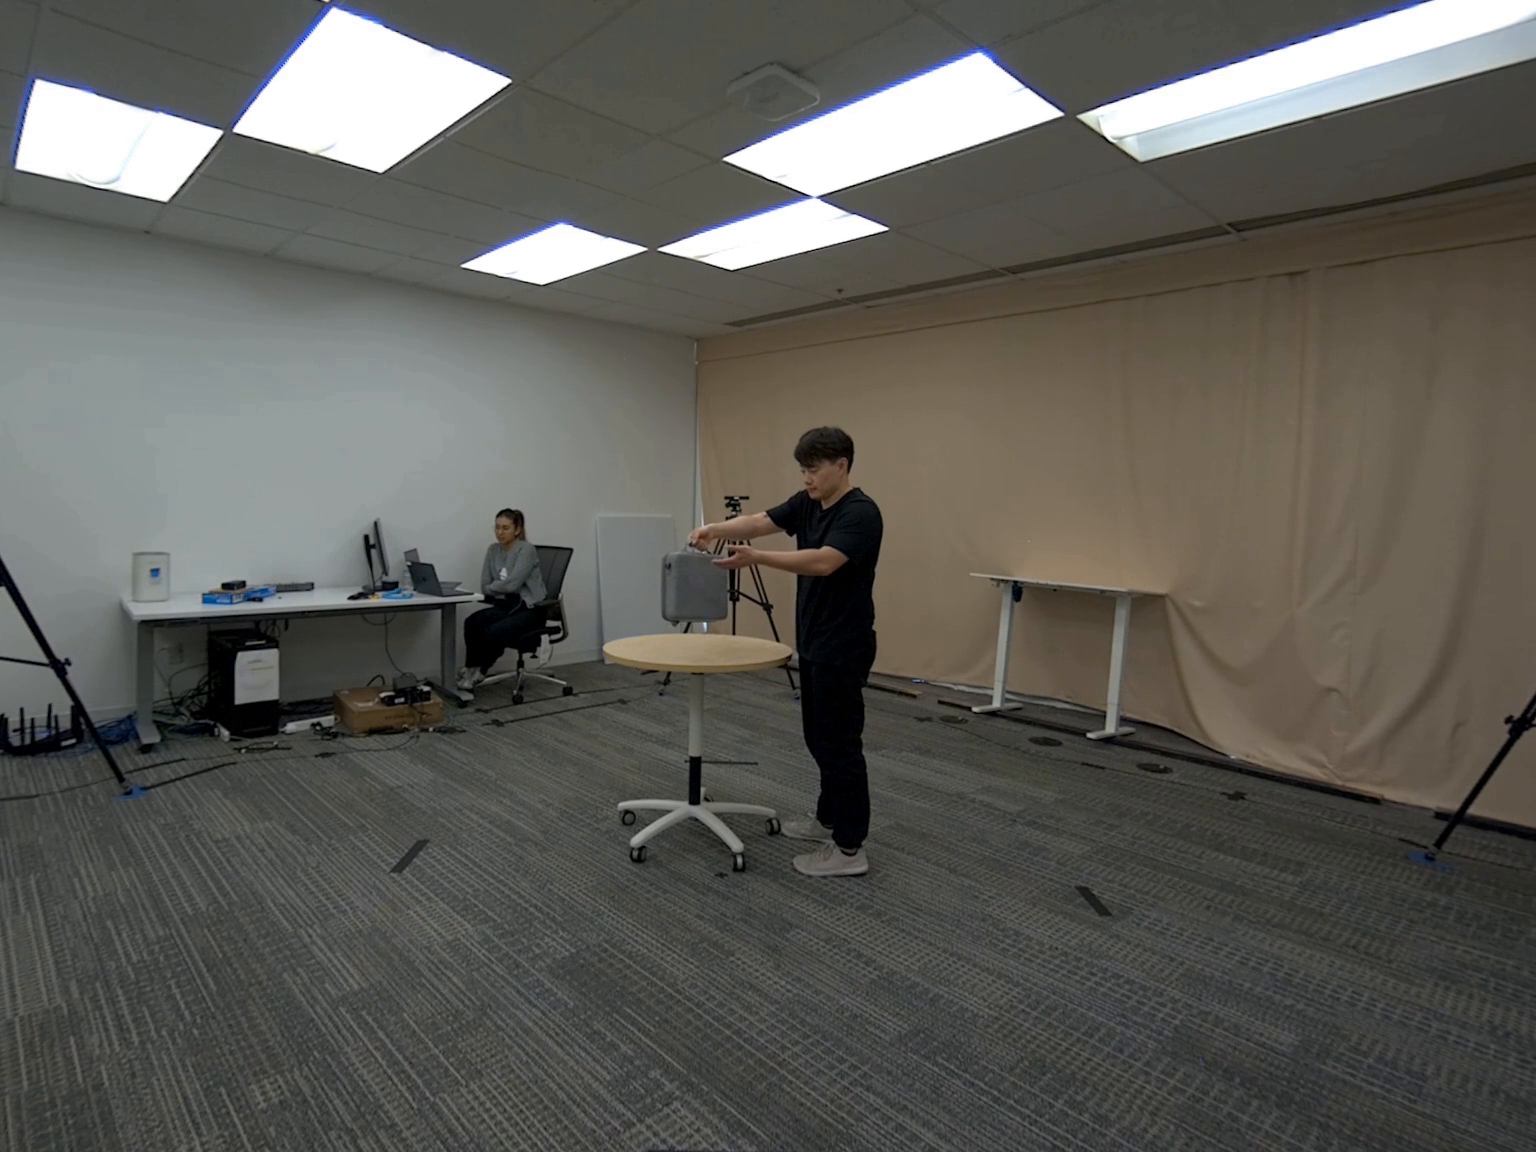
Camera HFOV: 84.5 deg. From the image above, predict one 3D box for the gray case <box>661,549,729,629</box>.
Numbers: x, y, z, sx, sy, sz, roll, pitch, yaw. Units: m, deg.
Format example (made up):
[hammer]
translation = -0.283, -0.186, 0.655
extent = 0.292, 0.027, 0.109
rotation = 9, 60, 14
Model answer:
[gray case]
translation = -0.276, 0.038, 3.117
extent = 0.251, 0.261, 0.106
rotation = 3, -2, -37
